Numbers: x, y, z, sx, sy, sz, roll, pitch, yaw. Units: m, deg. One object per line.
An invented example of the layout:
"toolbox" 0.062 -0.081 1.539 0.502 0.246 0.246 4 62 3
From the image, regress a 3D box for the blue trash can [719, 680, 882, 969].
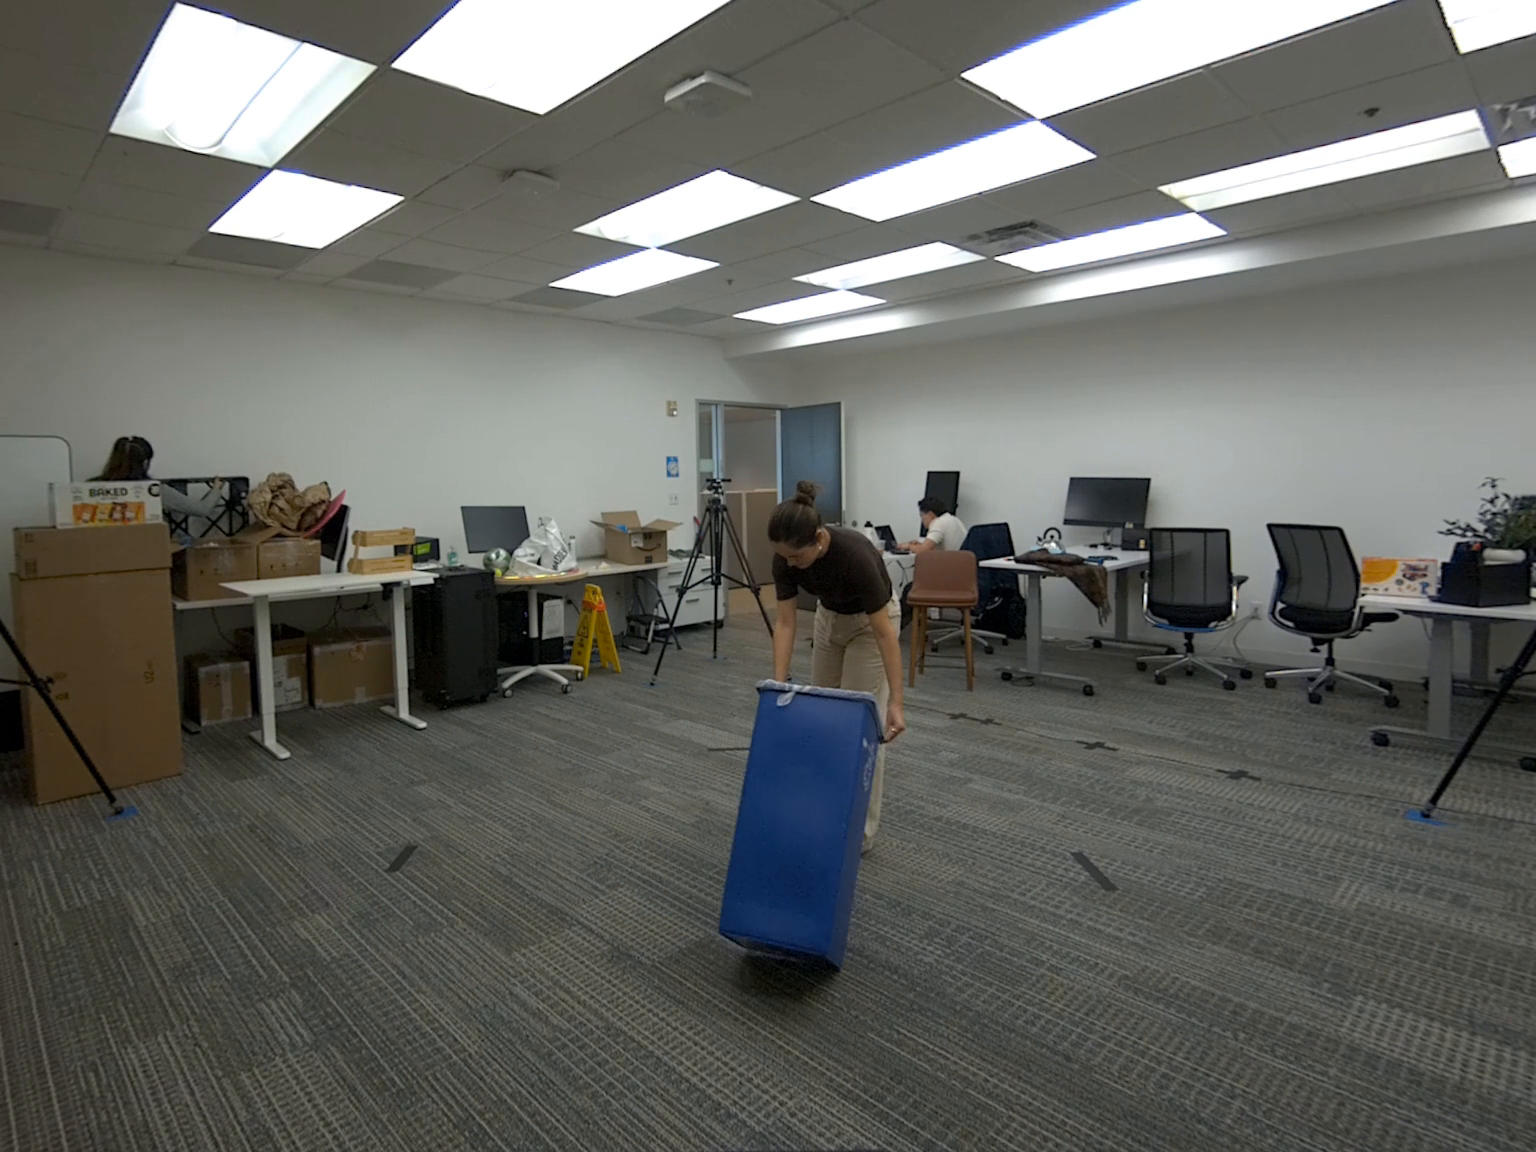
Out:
"blue trash can" 0.098 0.735 2.549 0.385 0.725 0.361 4 -29 16
